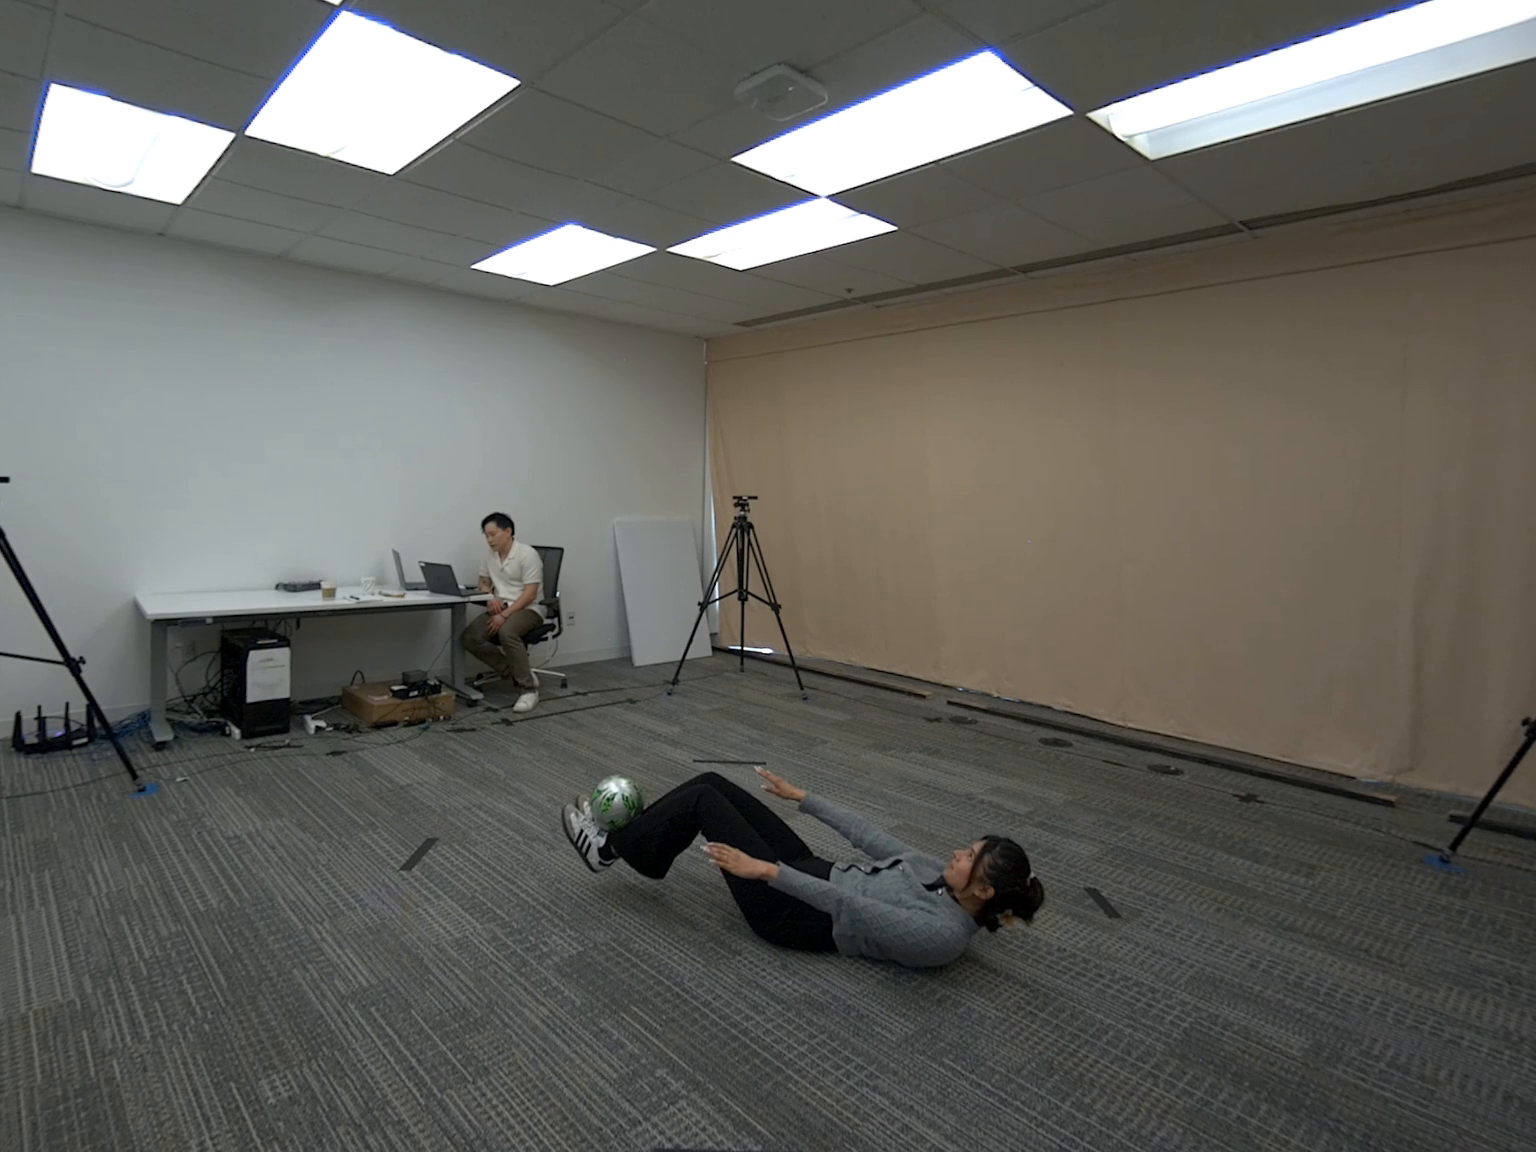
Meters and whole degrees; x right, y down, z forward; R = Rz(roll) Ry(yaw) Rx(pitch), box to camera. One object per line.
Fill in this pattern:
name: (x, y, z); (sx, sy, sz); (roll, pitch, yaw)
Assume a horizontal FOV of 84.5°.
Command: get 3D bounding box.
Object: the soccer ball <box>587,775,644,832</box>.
soccer ball: (-0.531, 0.785, 2.910); (0.187, 0.187, 0.188); (1, 4, -1)
